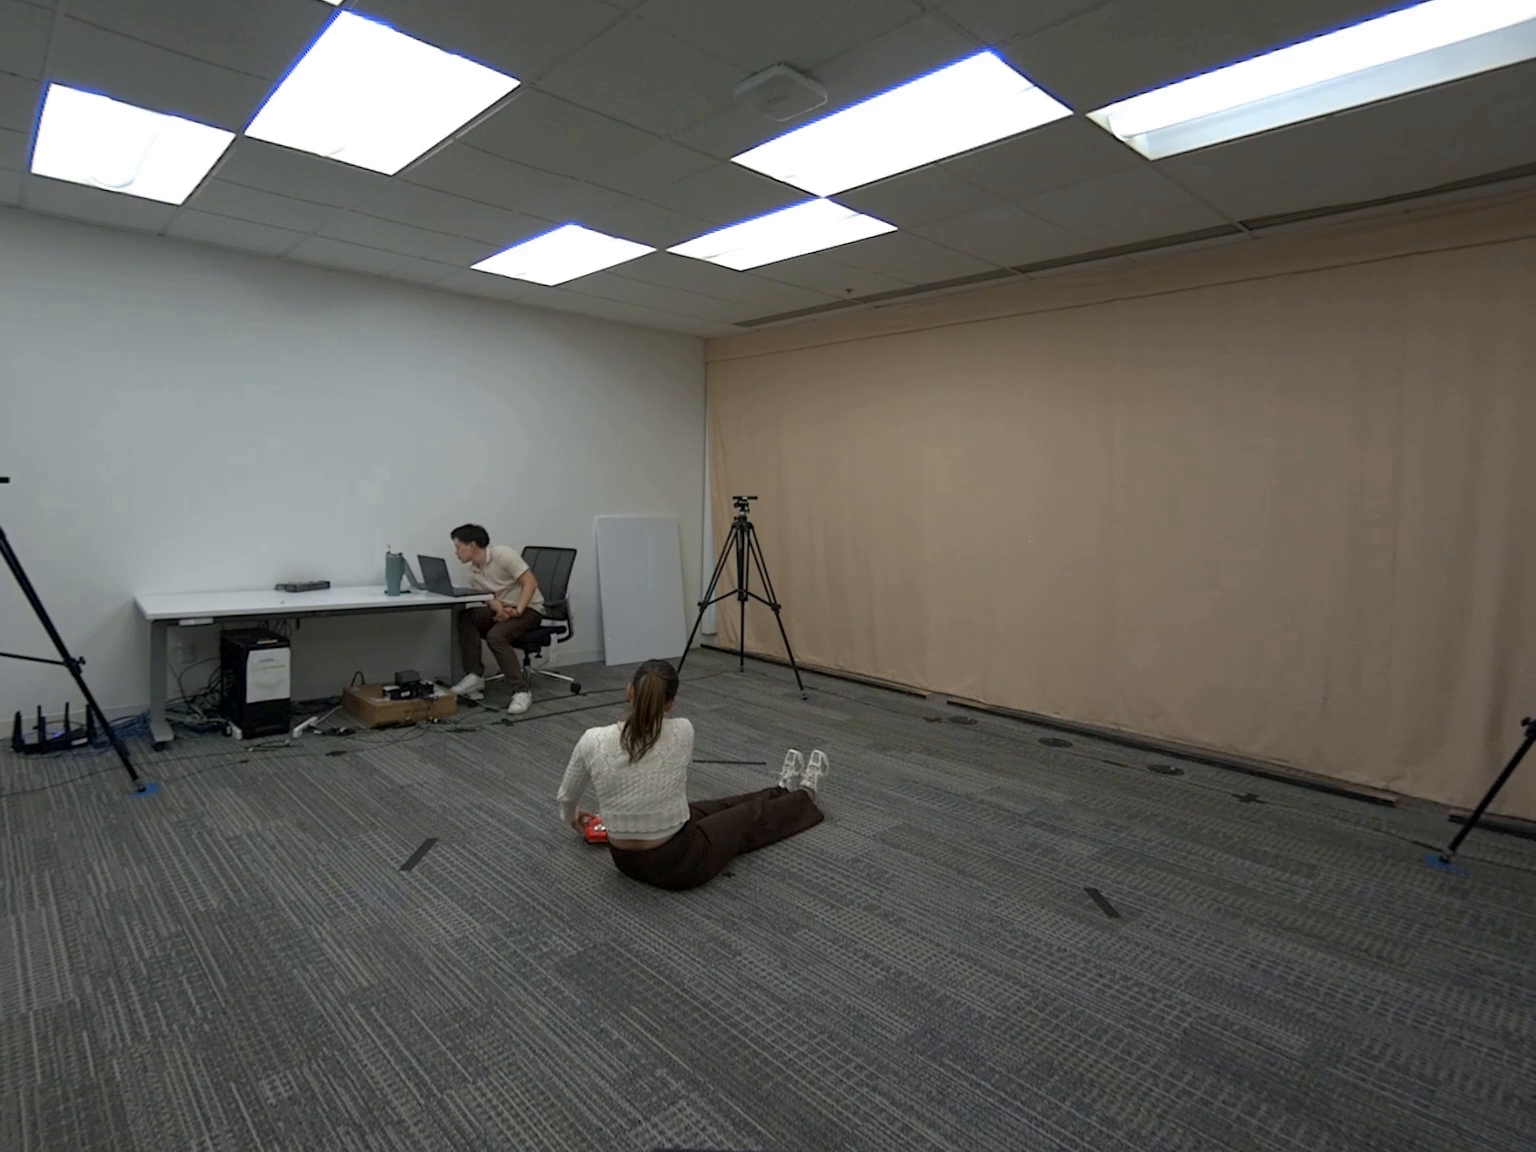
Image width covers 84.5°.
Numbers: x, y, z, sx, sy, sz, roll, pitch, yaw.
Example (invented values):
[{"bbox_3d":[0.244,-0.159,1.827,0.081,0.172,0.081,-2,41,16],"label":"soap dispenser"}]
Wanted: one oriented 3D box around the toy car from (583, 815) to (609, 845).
[{"bbox_3d":[-0.685,1.018,3.425,0.129,0.083,0.256,2,-2,-13],"label":"toy car"}]
